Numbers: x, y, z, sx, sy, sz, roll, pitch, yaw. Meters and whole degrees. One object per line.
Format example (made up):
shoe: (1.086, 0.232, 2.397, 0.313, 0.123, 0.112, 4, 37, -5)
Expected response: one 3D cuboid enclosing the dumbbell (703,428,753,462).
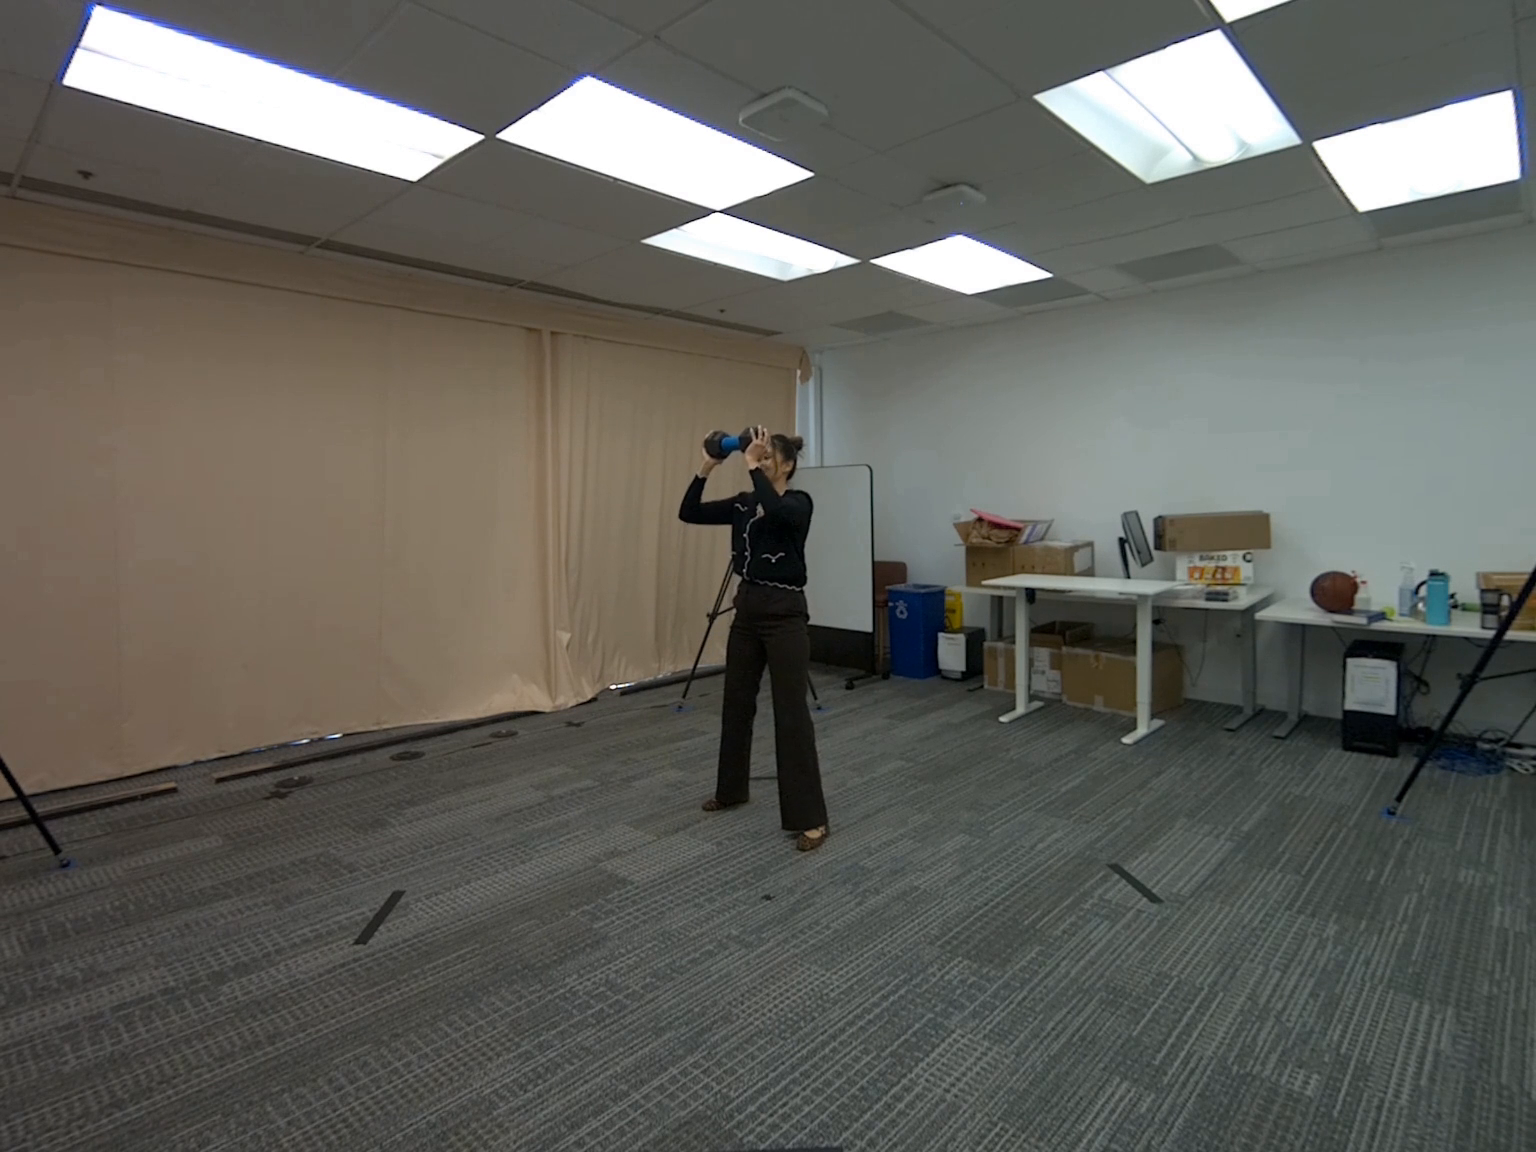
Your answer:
dumbbell: (-0.127, -0.558, 3.548, 0.303, 0.106, 0.122, 4, 46, 47)
